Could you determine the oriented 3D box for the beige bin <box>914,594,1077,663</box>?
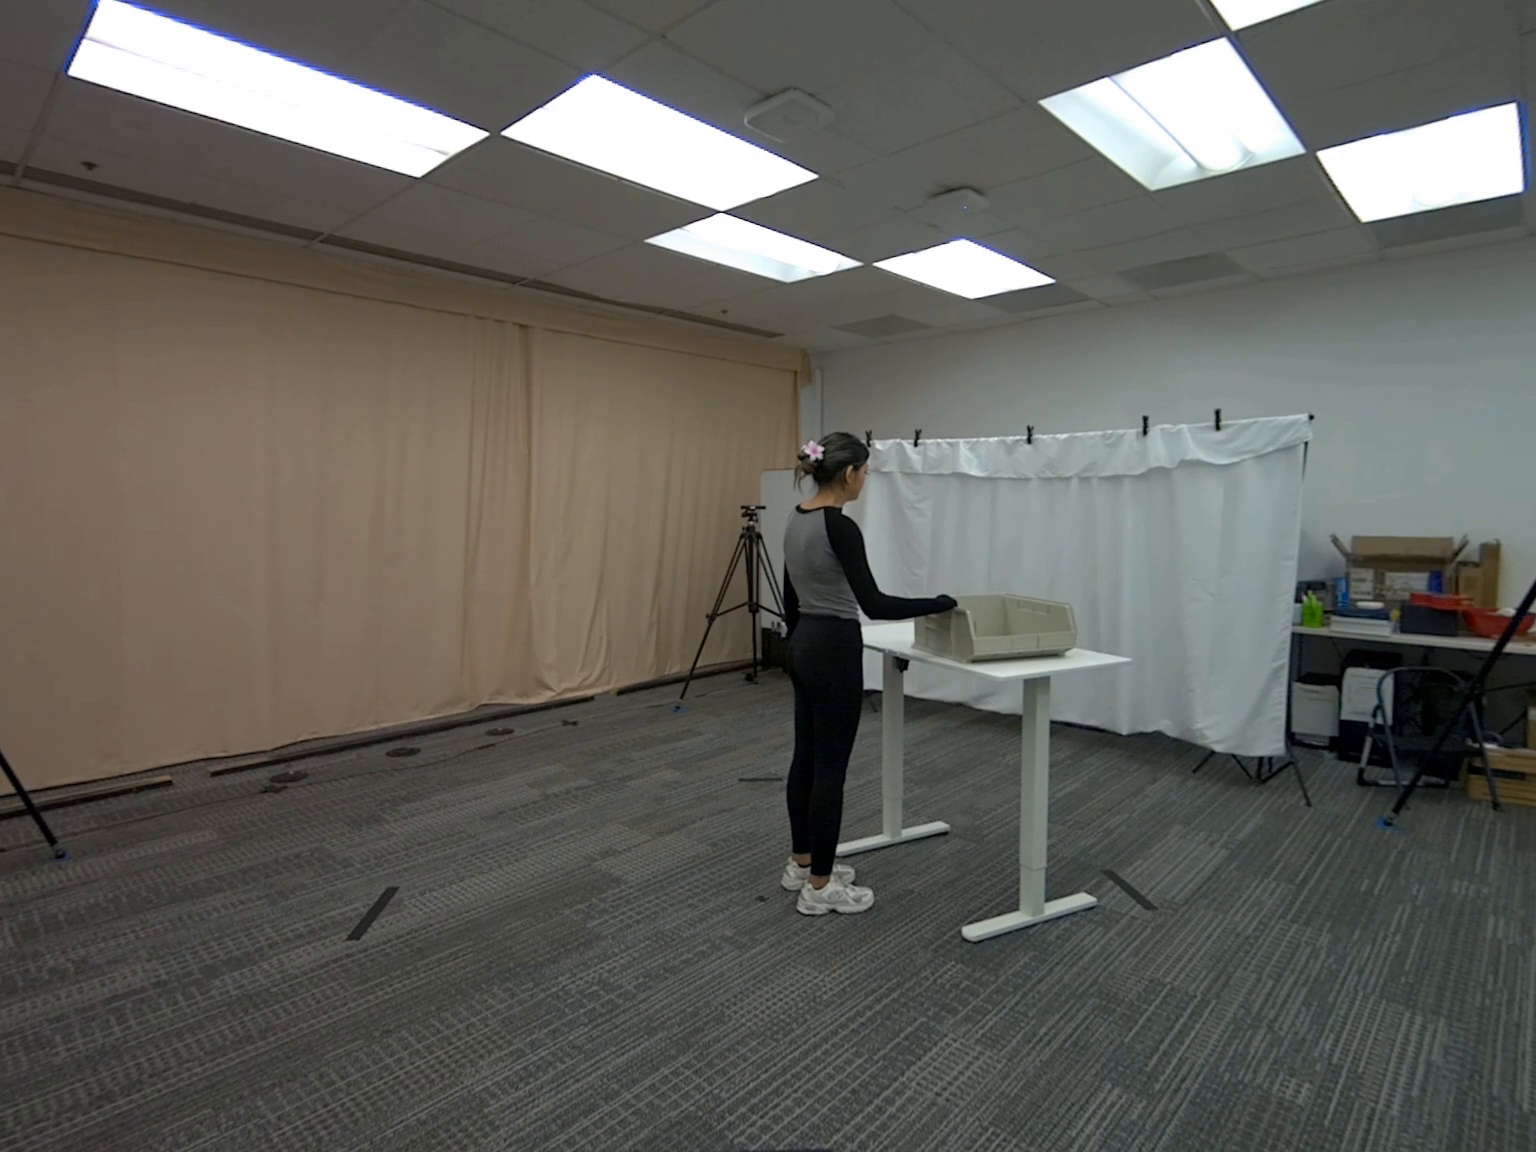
[{"bbox_3d":[0.774,0.180,2.901,0.414,0.189,0.385,-2,3,-20],"label":"beige bin"}]
